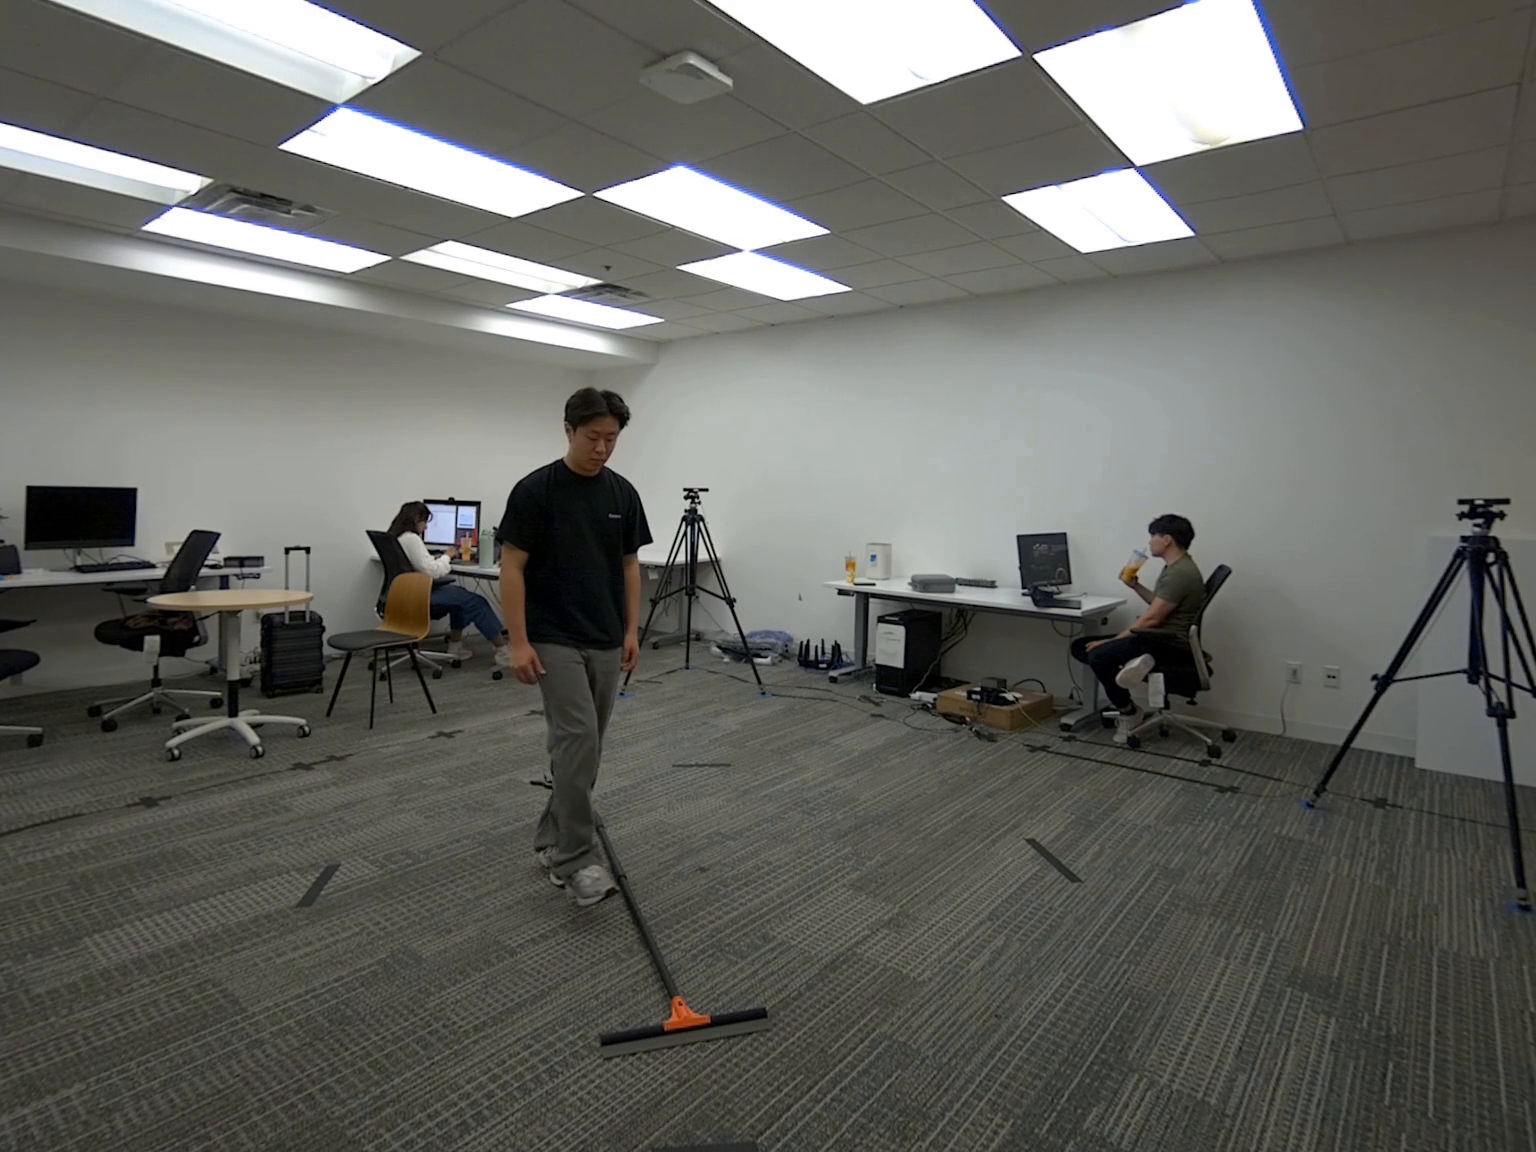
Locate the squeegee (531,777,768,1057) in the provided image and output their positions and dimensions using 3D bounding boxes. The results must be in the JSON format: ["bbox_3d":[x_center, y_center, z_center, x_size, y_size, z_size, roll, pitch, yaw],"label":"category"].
[{"bbox_3d":[-0.479,1.035,2.857,0.429,0.052,1.577,-2,7,-21],"label":"squeegee"}]
